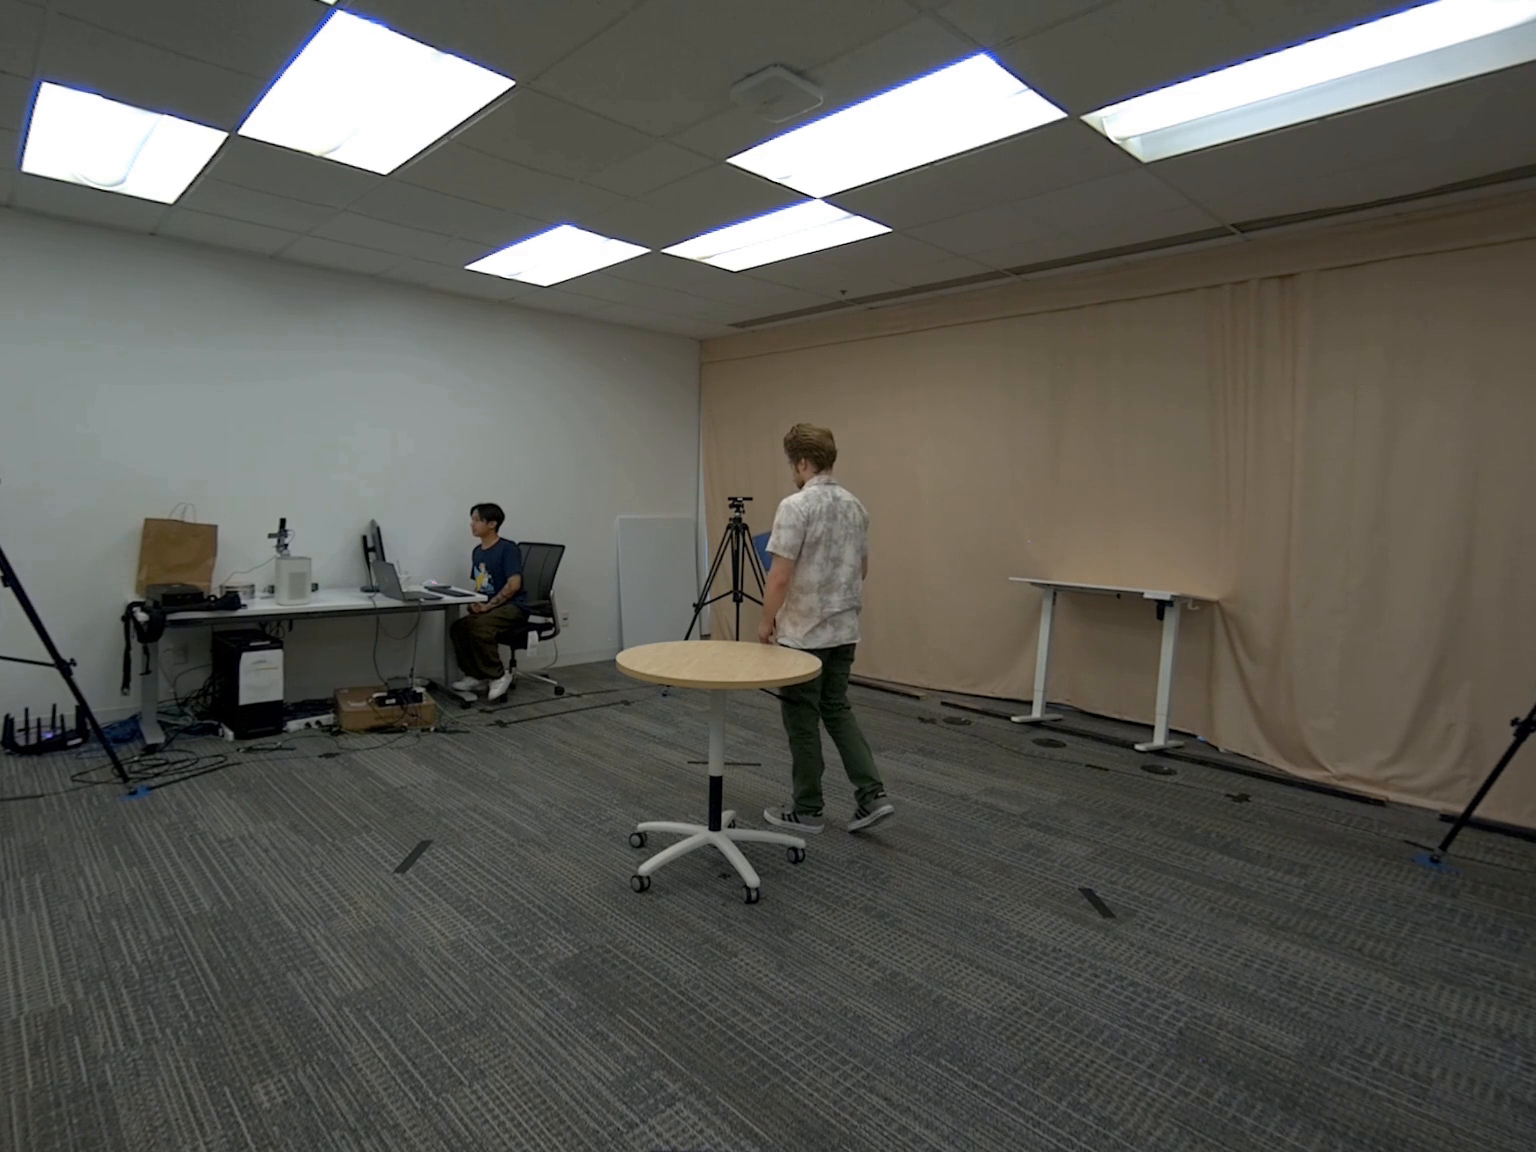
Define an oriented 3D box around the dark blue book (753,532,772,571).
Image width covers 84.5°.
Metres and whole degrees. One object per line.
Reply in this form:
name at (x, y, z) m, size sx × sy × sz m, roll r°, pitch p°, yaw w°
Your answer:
dark blue book at (0.034, -0.109, 3.867) m, size 0.163 × 0.044 × 0.252 m, roll -17°, pitch 44°, yaw -5°
